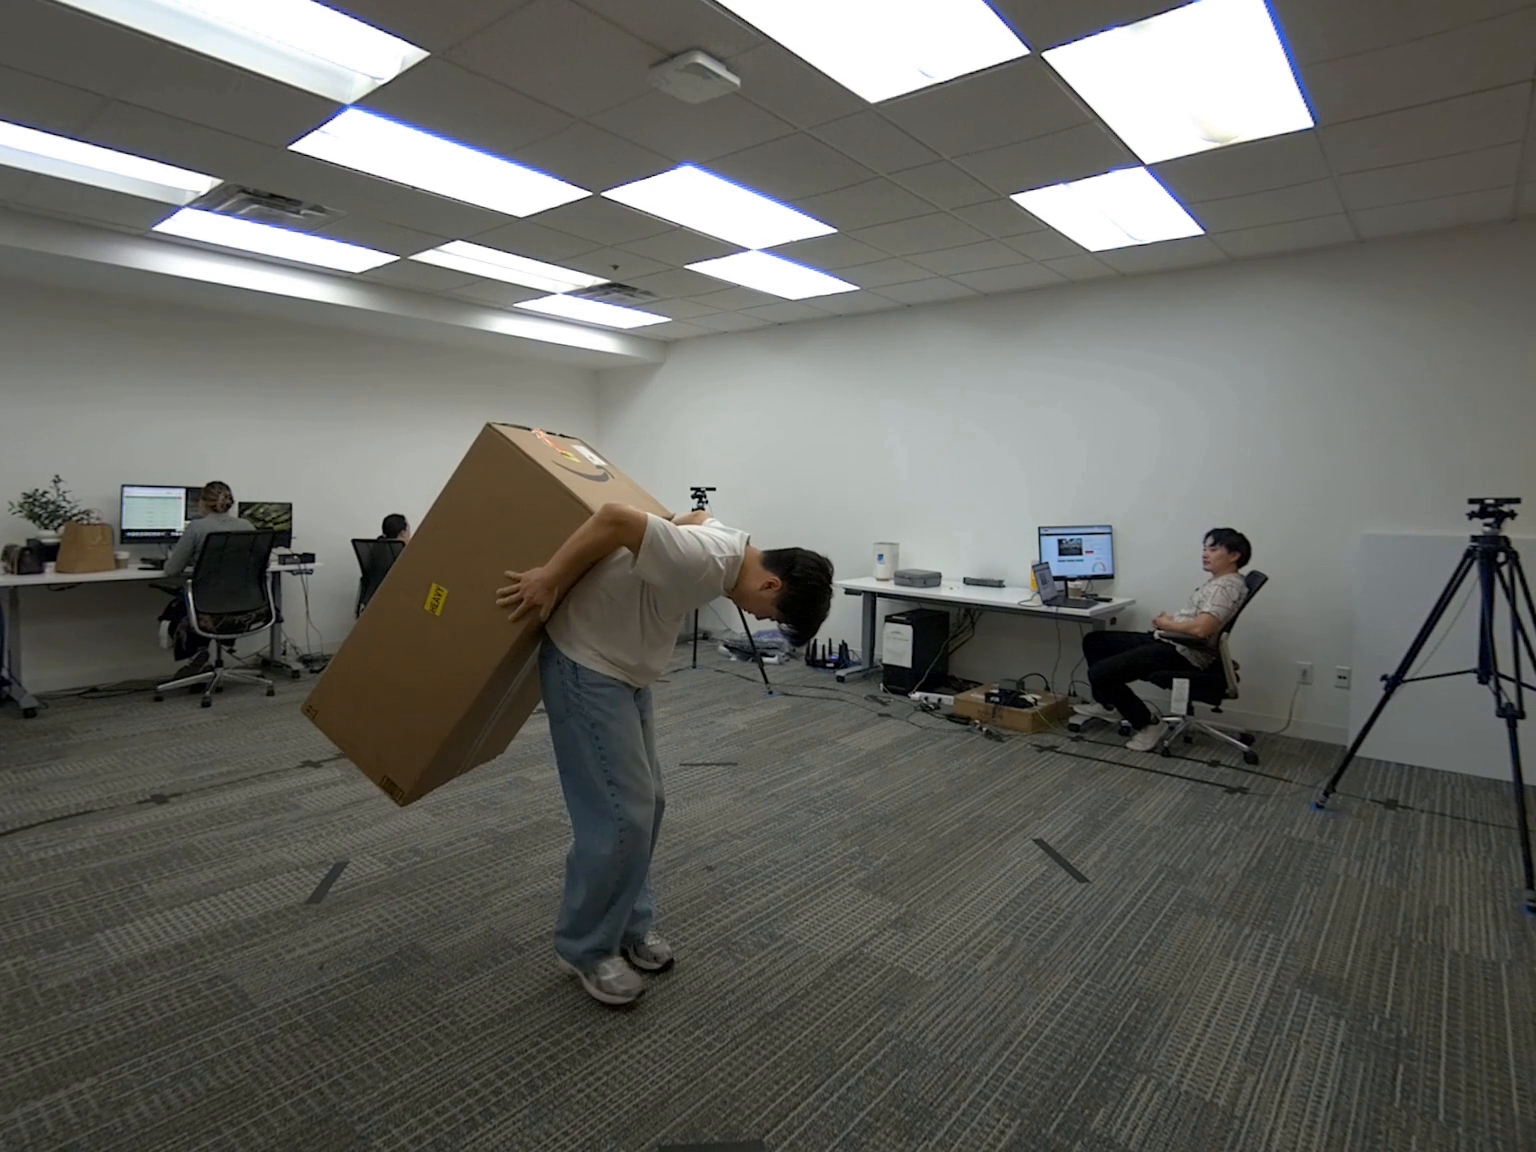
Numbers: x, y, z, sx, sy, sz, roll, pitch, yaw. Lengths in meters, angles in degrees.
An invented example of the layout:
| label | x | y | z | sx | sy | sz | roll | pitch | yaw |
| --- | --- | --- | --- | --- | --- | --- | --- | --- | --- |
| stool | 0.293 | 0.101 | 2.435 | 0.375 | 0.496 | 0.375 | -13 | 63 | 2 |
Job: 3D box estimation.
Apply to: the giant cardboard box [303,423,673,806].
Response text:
| label | x | y | z | sx | sy | sz | roll | pitch | yaw |
| --- | --- | --- | --- | --- | --- | --- | --- | --- | --- |
| giant cardboard box | -0.837 | 0.095 | 2.569 | 0.433 | 1.024 | 0.570 | 39 | 11 | 9 |
